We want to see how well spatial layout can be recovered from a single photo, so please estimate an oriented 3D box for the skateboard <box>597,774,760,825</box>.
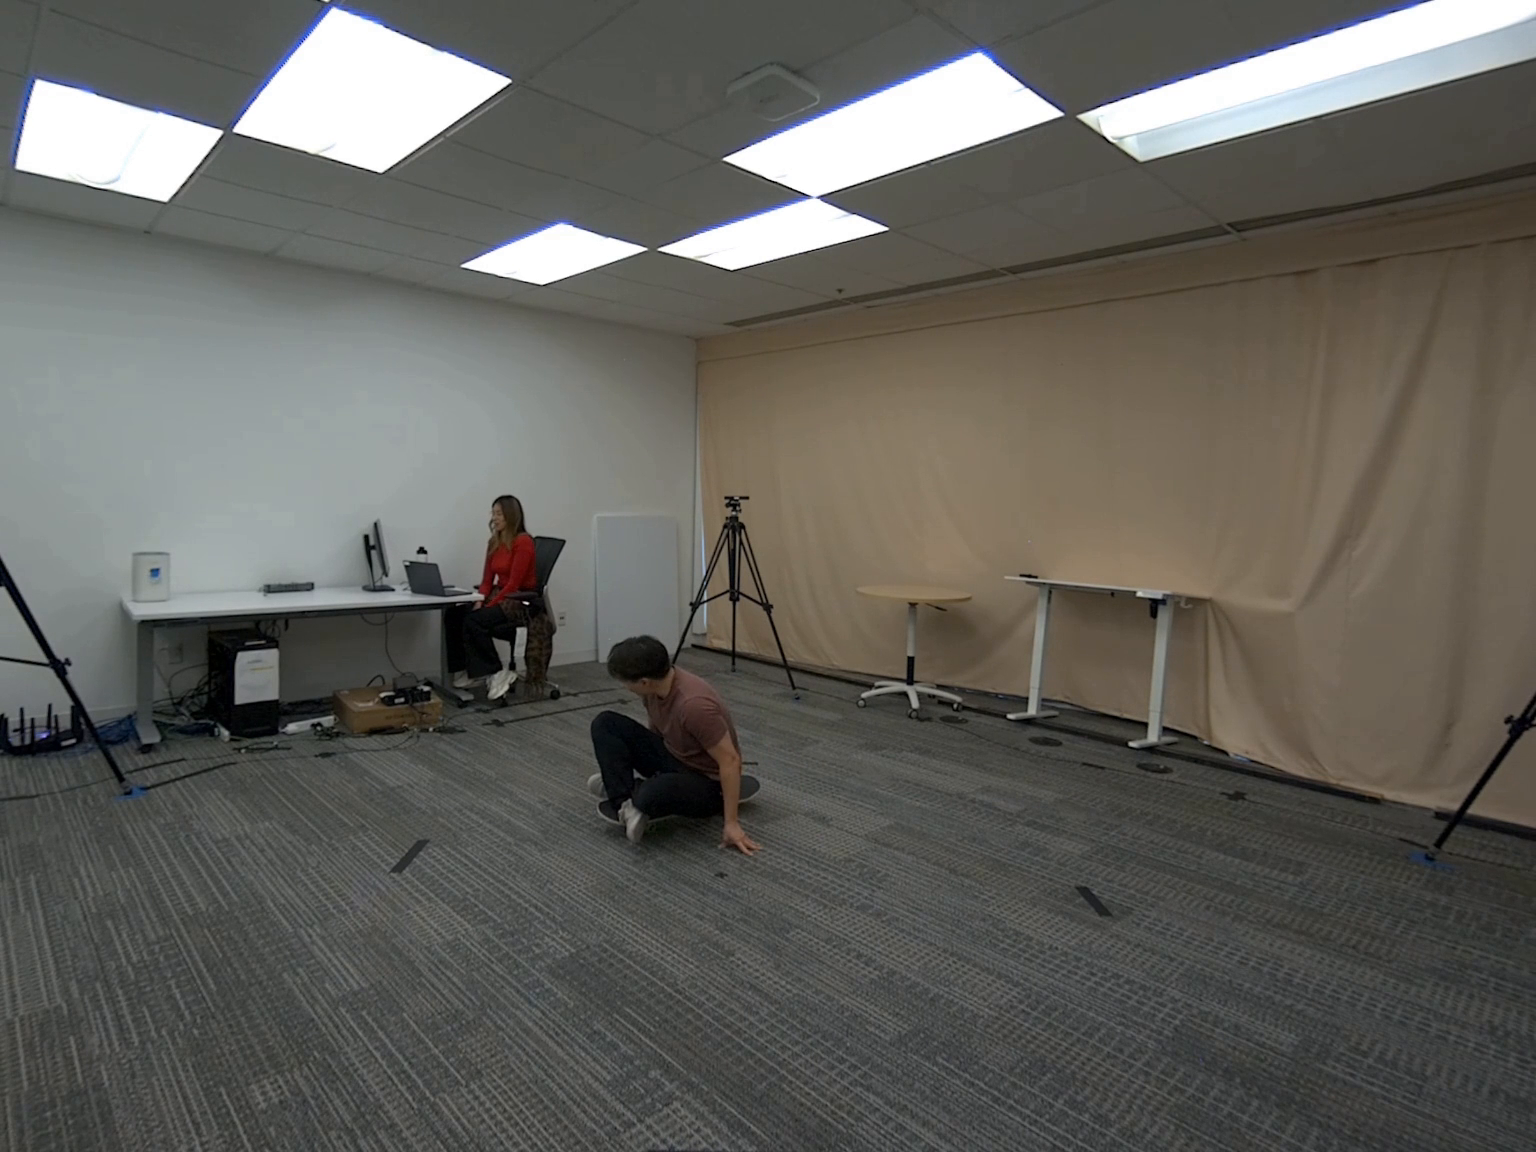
[{"bbox_3d":[-0.387,0.998,3.652,0.768,0.109,0.199,0,17,-32],"label":"skateboard"}]
